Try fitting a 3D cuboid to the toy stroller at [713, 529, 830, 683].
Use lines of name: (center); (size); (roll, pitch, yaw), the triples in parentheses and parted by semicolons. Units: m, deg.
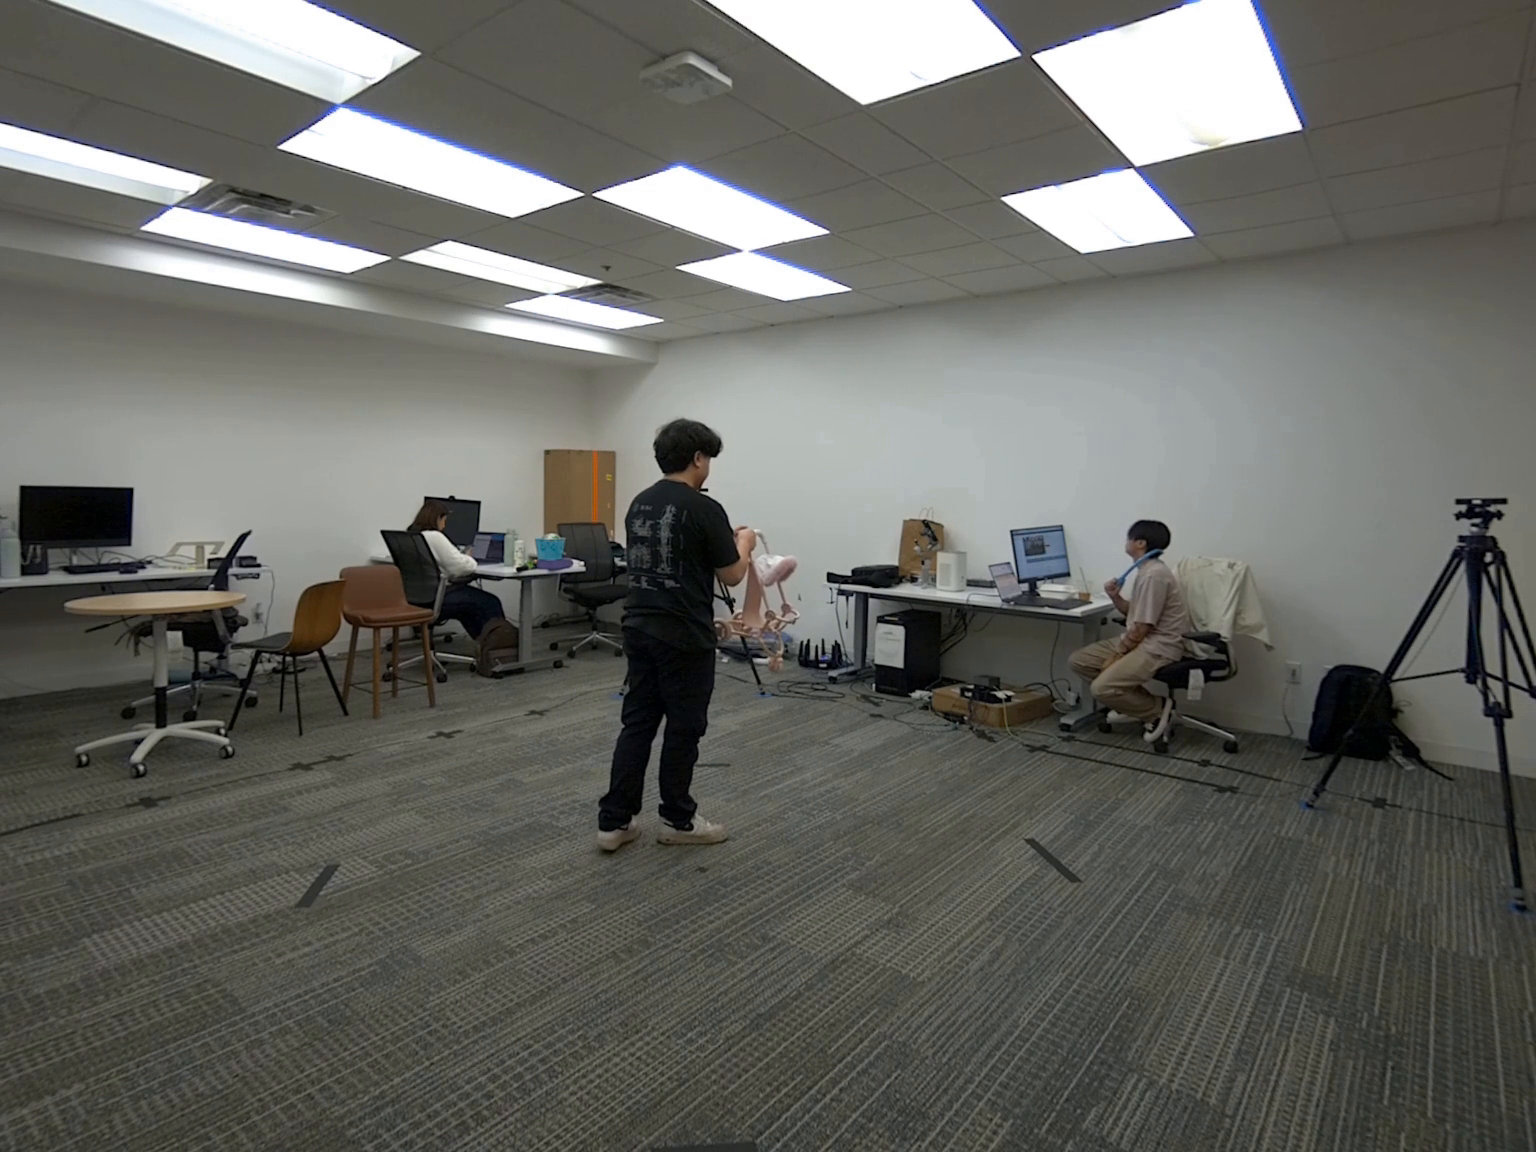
toy stroller: (-0.030, 0.113, 3.600); (0.352, 0.531, 0.274); (24, 13, 25)
